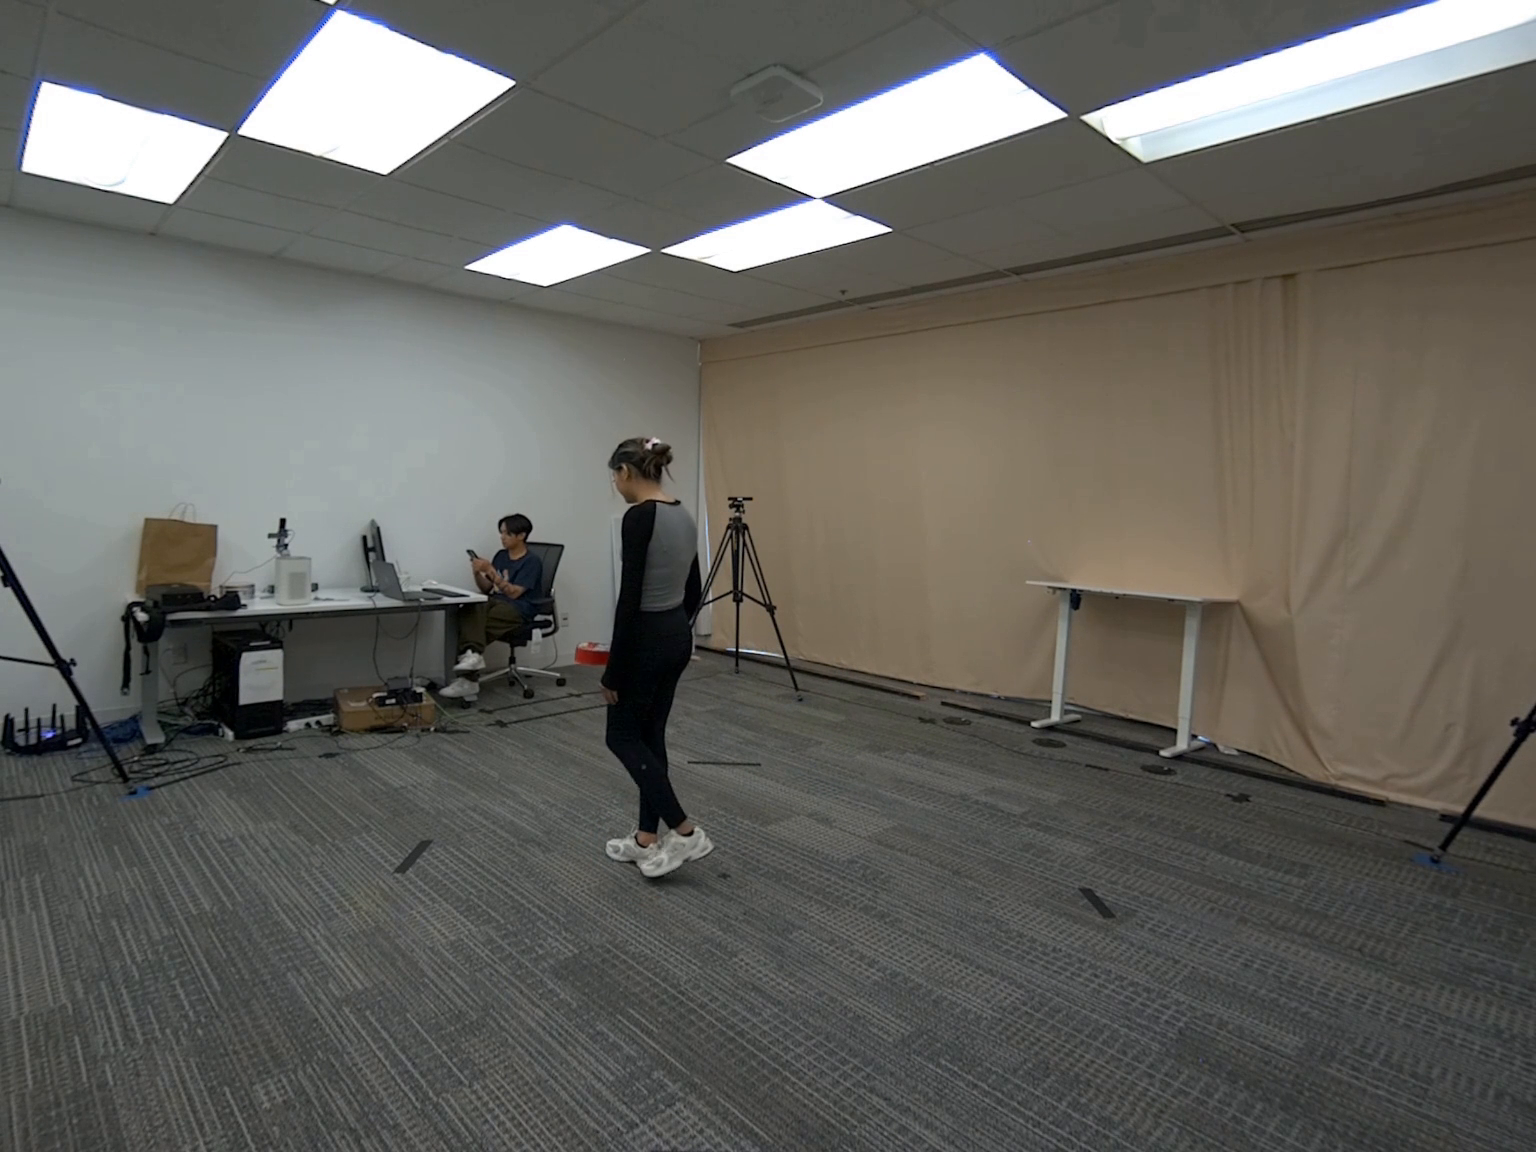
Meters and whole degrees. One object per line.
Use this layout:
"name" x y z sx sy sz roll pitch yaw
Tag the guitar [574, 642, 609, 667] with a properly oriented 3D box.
"guitar" -0.525 0.327 3.349 0.502 0.070 0.192 6 4 10
